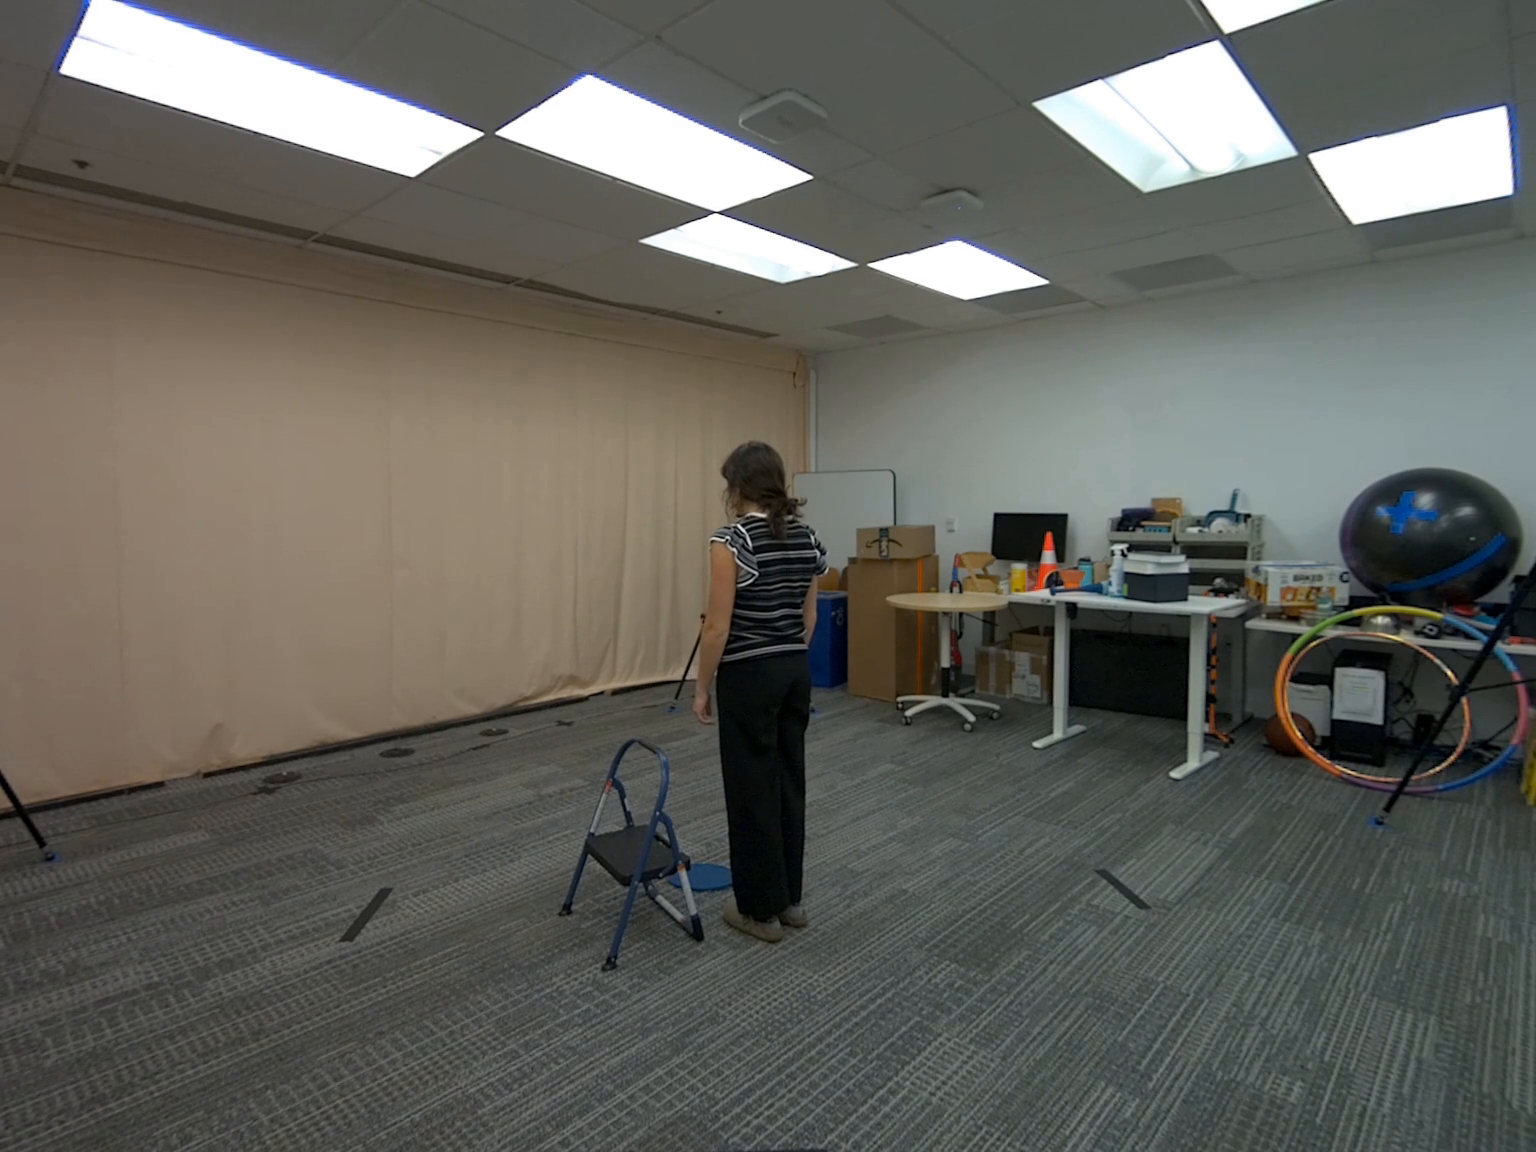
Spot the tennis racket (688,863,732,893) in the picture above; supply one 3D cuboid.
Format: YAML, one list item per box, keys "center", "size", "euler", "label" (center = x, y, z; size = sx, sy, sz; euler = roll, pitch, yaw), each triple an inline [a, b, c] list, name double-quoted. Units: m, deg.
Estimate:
- center: [-0.164, 1.116, 3.117]
  size: [0.439, 0.031, 0.211]
  euler: [-1, 6, 14]
  label: "tennis racket"
